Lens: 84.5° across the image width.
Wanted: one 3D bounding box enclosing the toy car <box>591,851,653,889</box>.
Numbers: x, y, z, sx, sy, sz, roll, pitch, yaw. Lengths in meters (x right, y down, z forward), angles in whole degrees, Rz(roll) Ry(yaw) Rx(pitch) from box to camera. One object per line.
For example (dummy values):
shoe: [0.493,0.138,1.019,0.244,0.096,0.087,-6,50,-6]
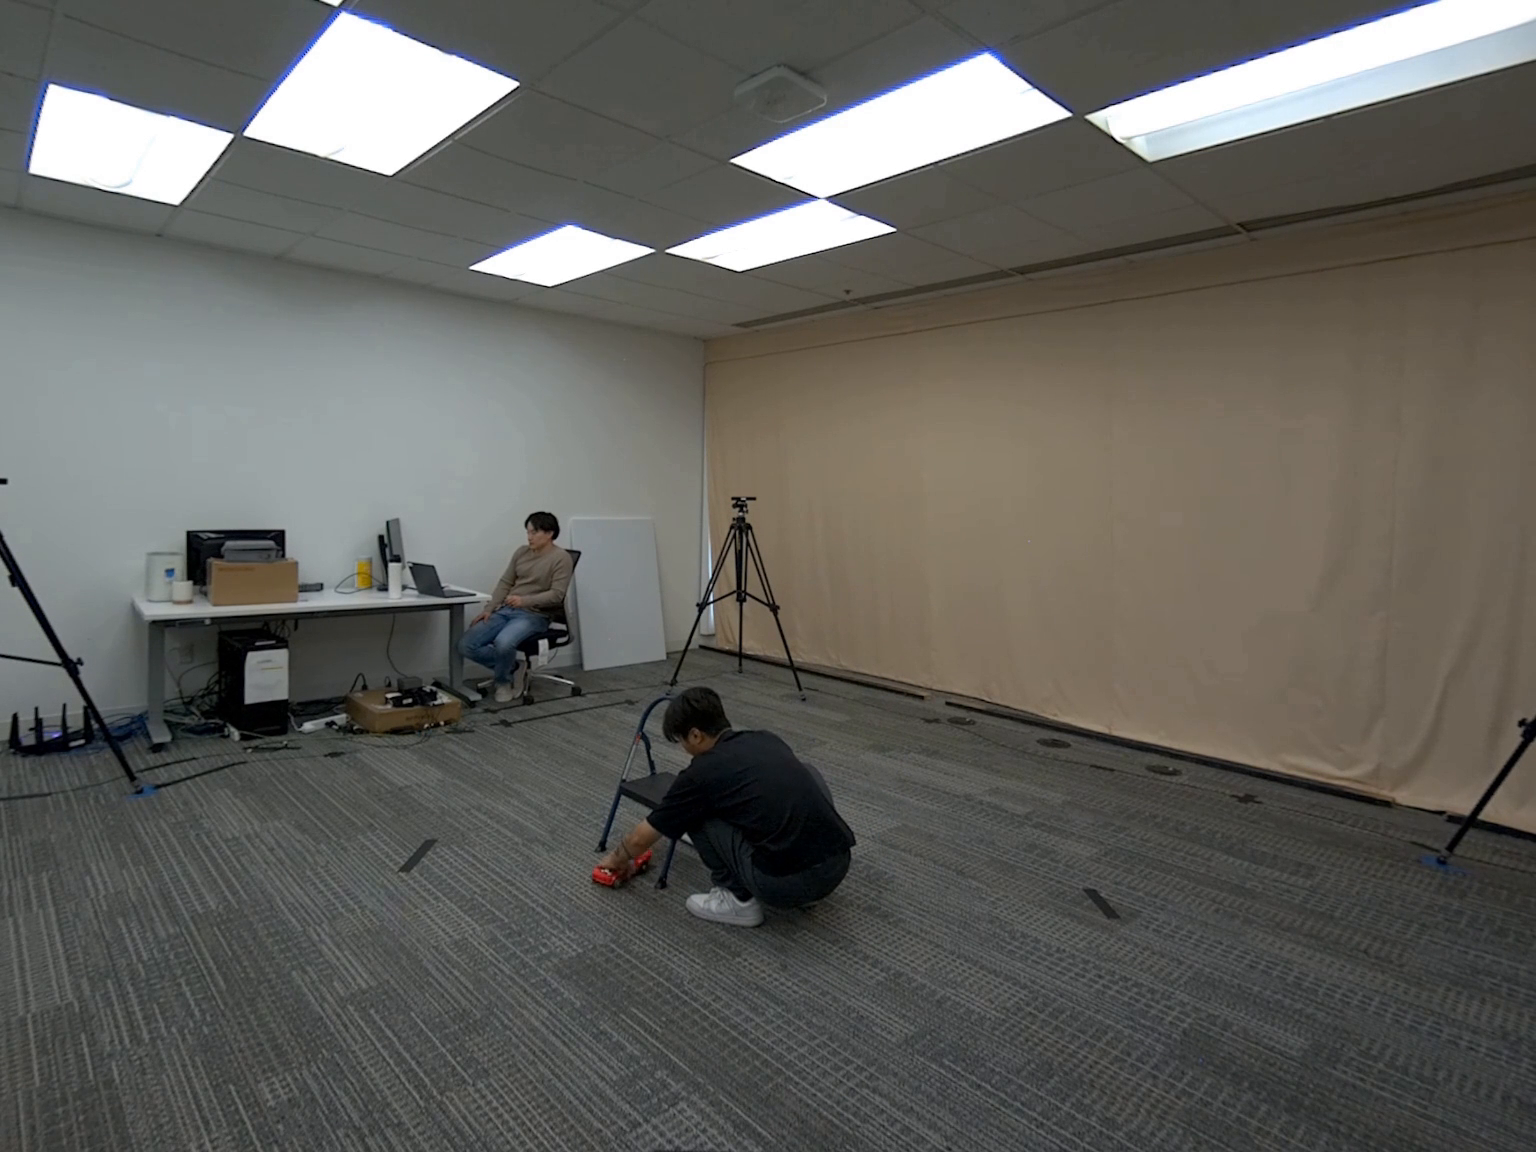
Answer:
toy car: [-0.532,1.068,3.090,0.133,0.082,0.252,4,19,31]
